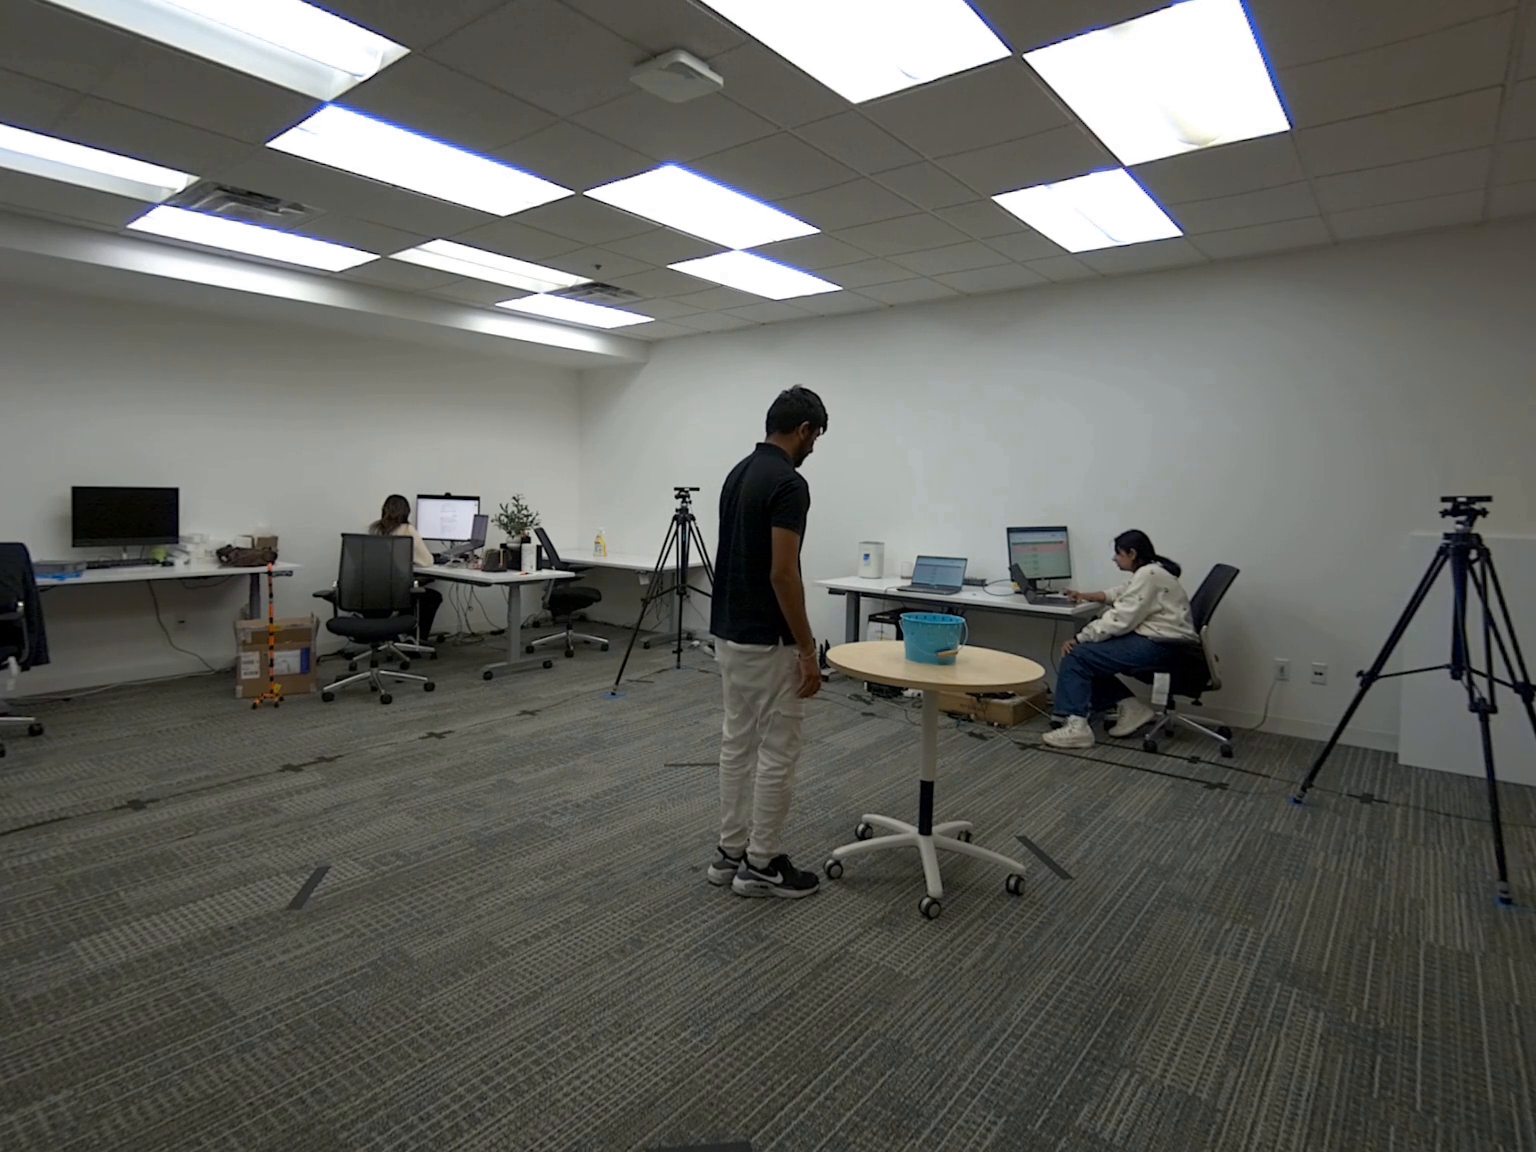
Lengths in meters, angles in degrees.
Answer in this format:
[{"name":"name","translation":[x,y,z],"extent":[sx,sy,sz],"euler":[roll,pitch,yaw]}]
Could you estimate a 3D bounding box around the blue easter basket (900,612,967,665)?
[{"name":"blue easter basket","translation":[0.592,0.225,3.104],"extent":[0.243,0.155,0.245],"euler":[2,5,-2]}]
